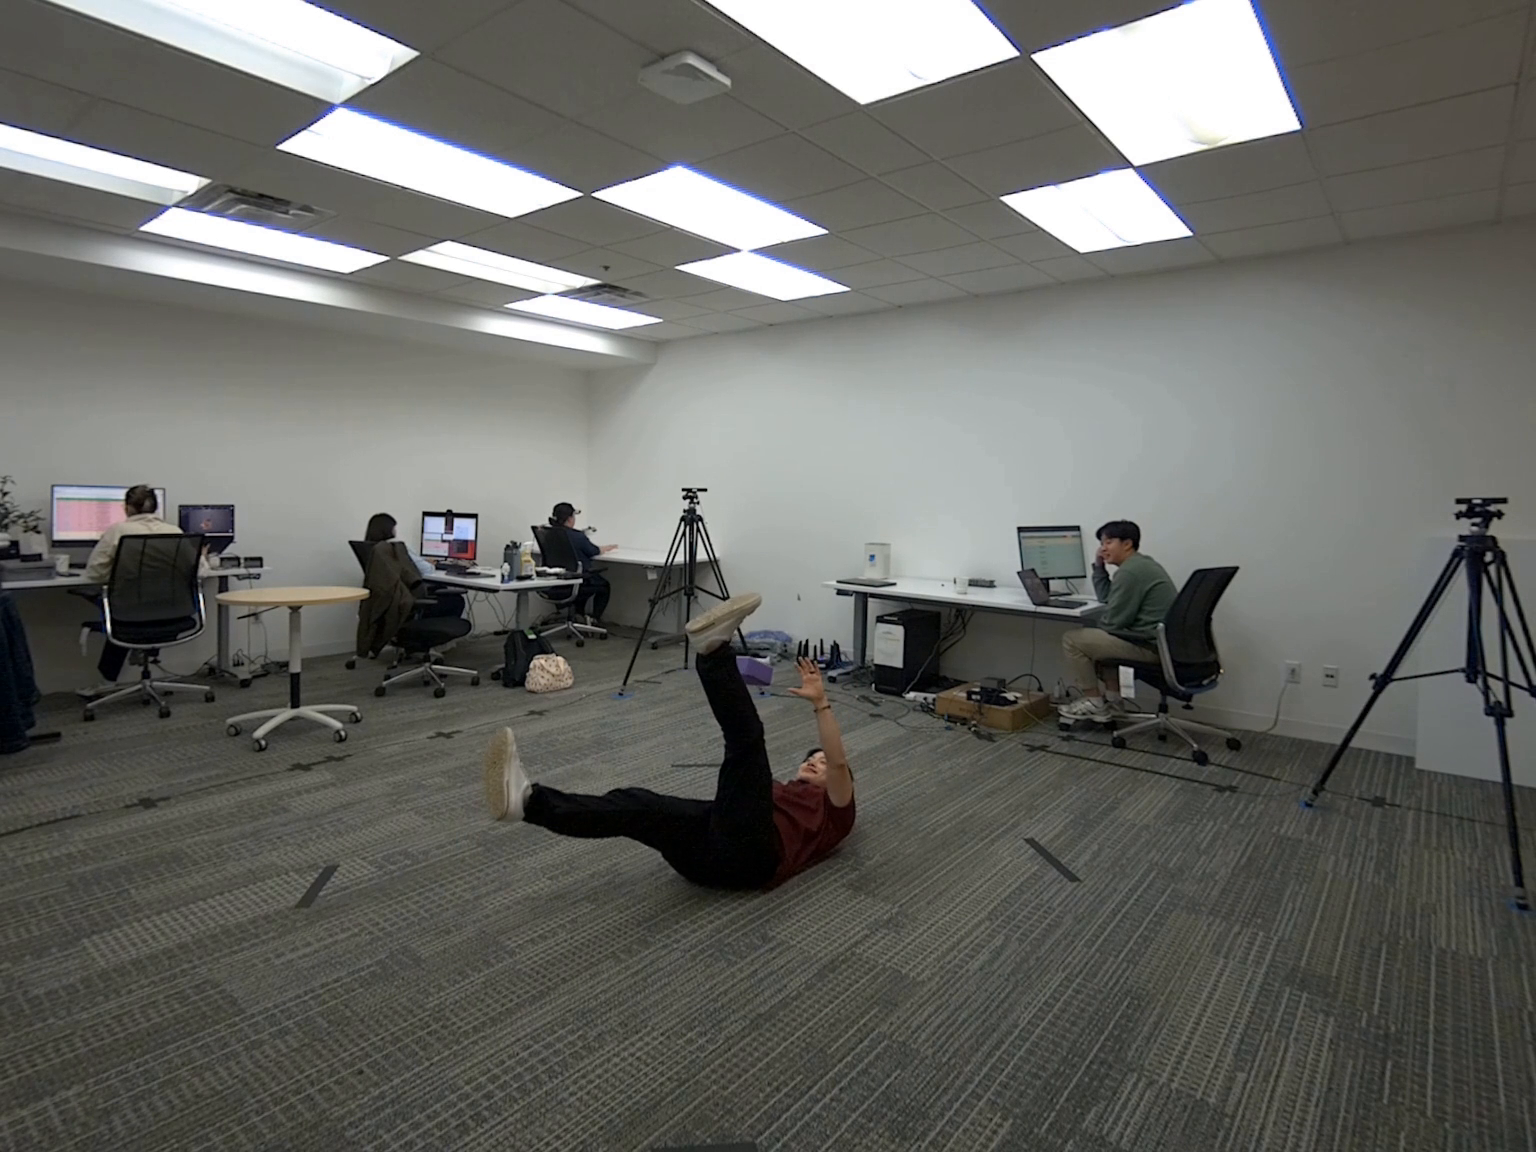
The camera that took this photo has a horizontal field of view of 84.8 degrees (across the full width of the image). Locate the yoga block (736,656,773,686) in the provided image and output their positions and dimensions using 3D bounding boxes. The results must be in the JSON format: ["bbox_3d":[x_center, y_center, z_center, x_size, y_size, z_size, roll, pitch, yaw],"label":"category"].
[{"bbox_3d":[-0.125,0.359,3.232,0.143,0.077,0.235,26,-21,-35],"label":"yoga block"}]
